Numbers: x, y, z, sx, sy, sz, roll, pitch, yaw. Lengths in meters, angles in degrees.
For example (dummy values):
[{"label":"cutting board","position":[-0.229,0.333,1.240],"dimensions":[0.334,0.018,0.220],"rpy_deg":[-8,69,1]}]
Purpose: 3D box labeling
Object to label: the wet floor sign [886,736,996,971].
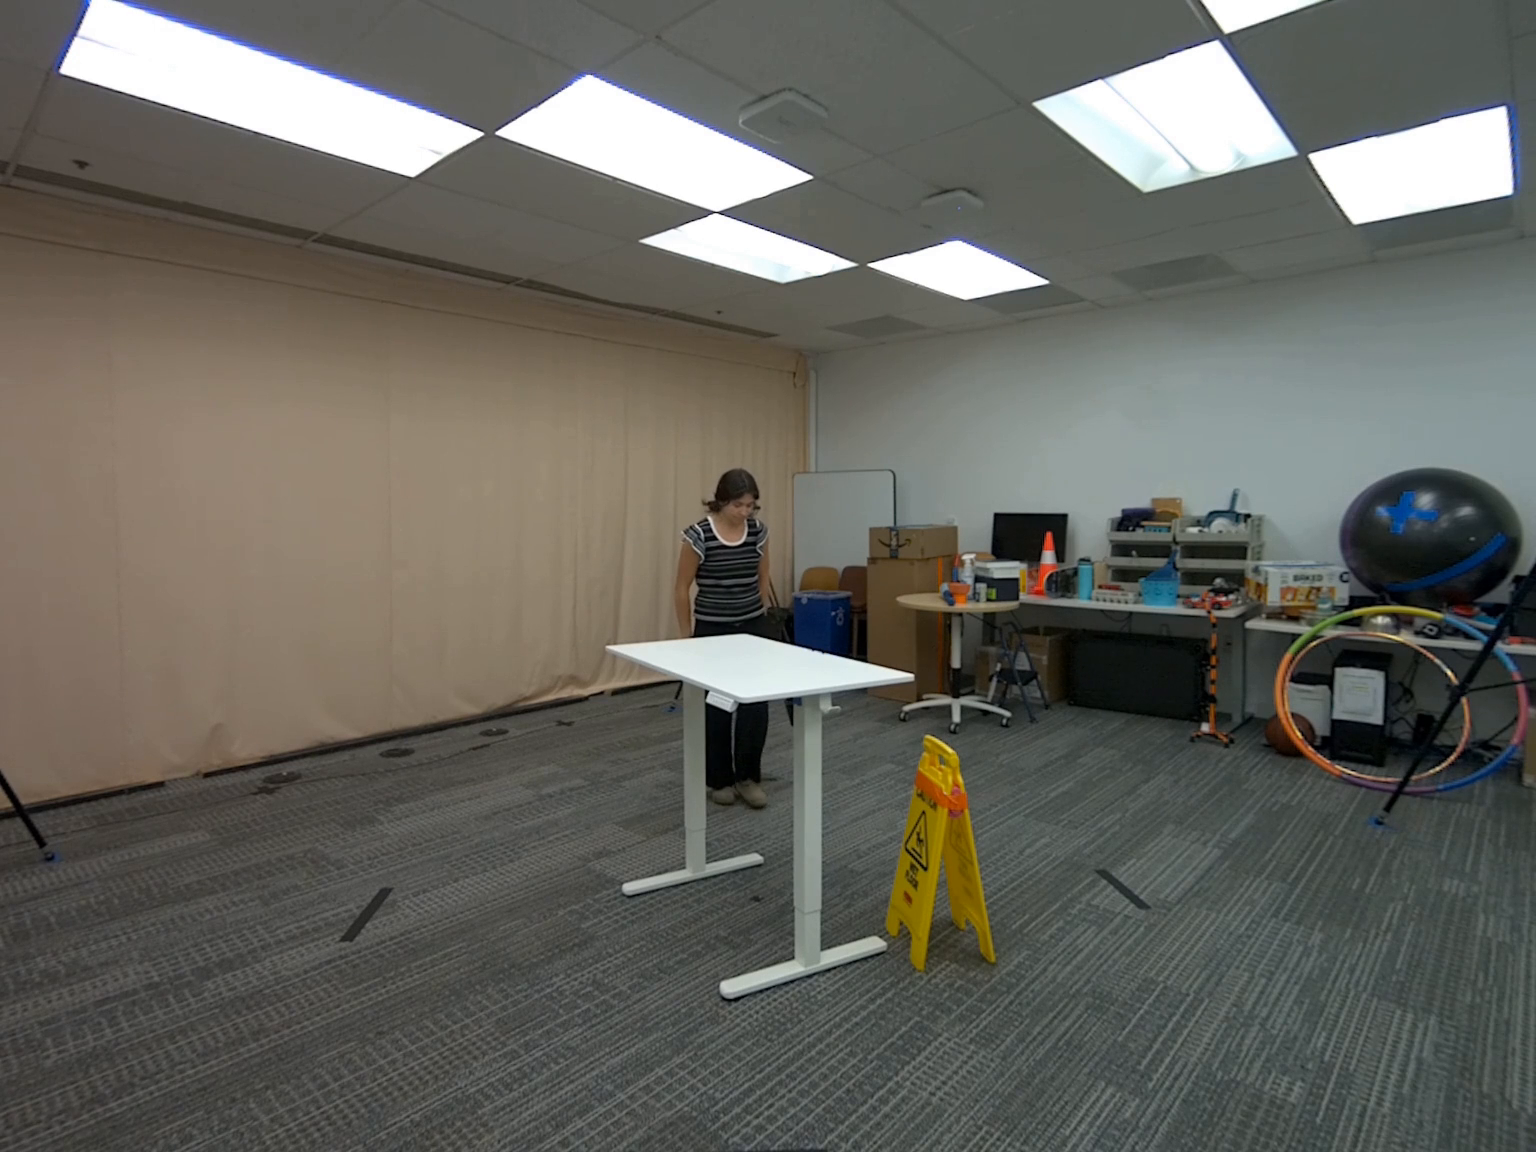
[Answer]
[{"label":"wet floor sign","position":[0.552,0.850,2.638],"dimensions":[0.286,0.645,0.286],"rpy_deg":[1,4,-11]}]
